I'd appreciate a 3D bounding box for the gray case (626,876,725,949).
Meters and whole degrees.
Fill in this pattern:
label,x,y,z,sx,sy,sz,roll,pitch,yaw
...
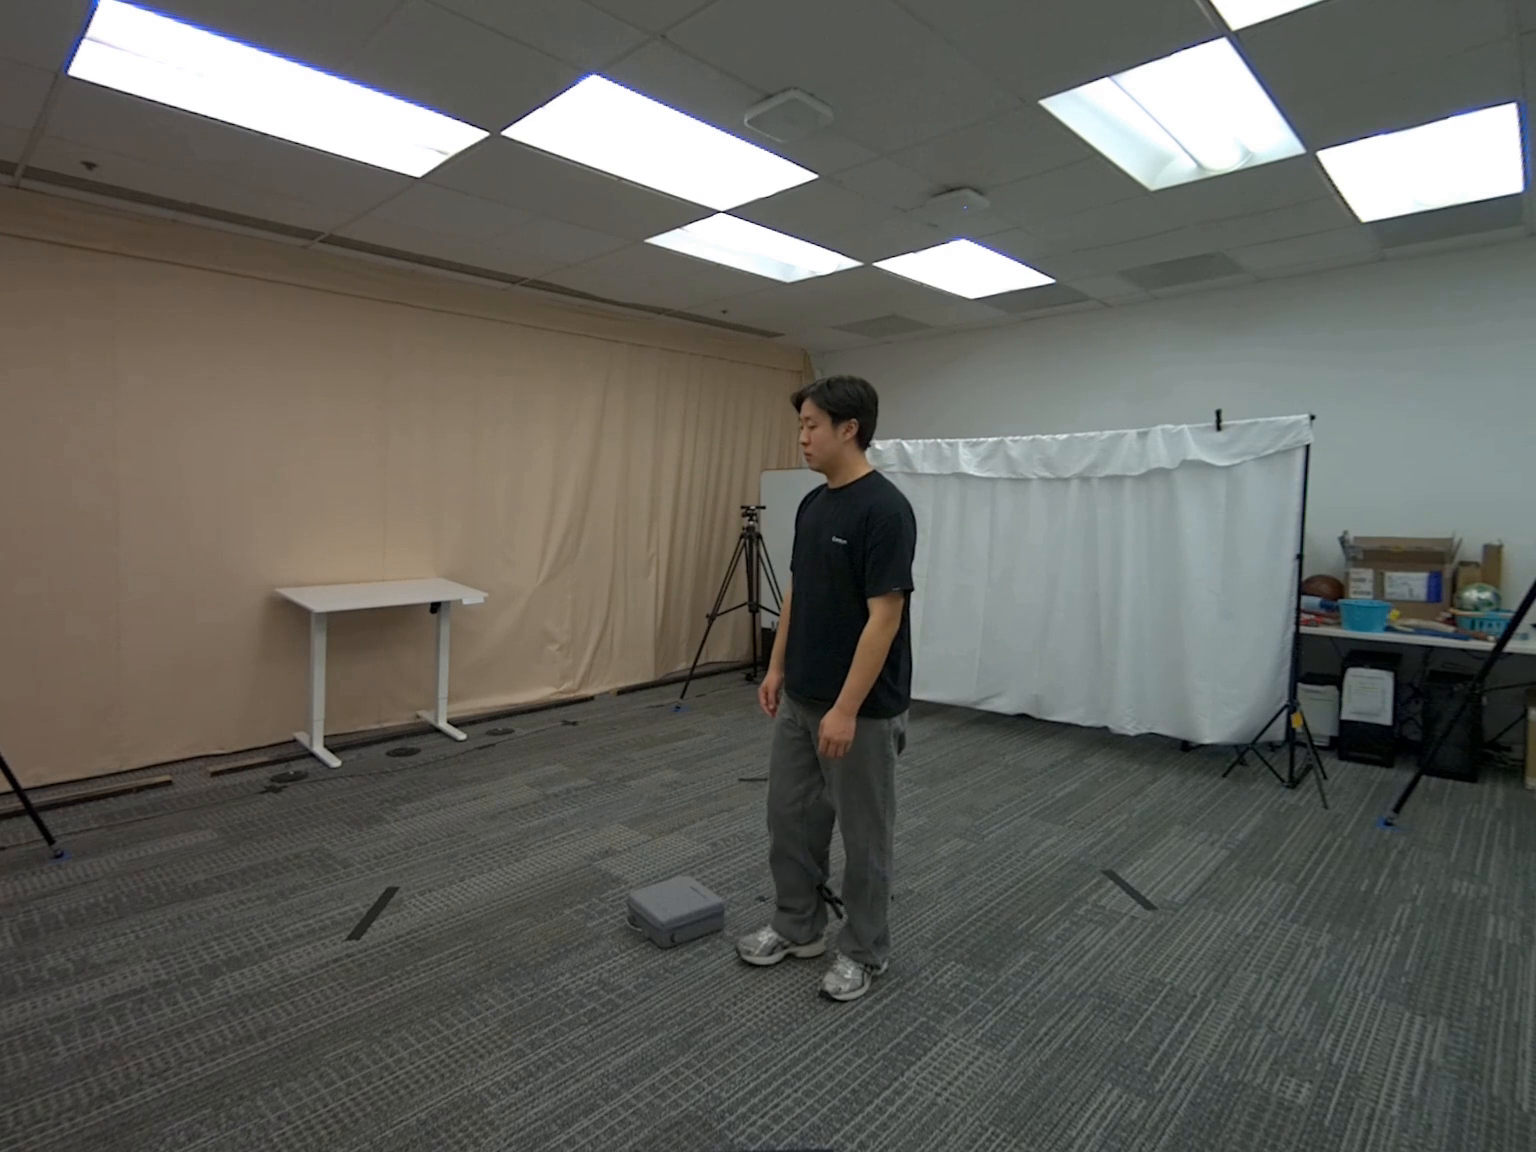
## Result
label,x,y,z,sx,sy,sz,roll,pitch,yaw
gray case,-0.314,1.109,2.783,0.279,0.103,0.271,-4,6,-34
